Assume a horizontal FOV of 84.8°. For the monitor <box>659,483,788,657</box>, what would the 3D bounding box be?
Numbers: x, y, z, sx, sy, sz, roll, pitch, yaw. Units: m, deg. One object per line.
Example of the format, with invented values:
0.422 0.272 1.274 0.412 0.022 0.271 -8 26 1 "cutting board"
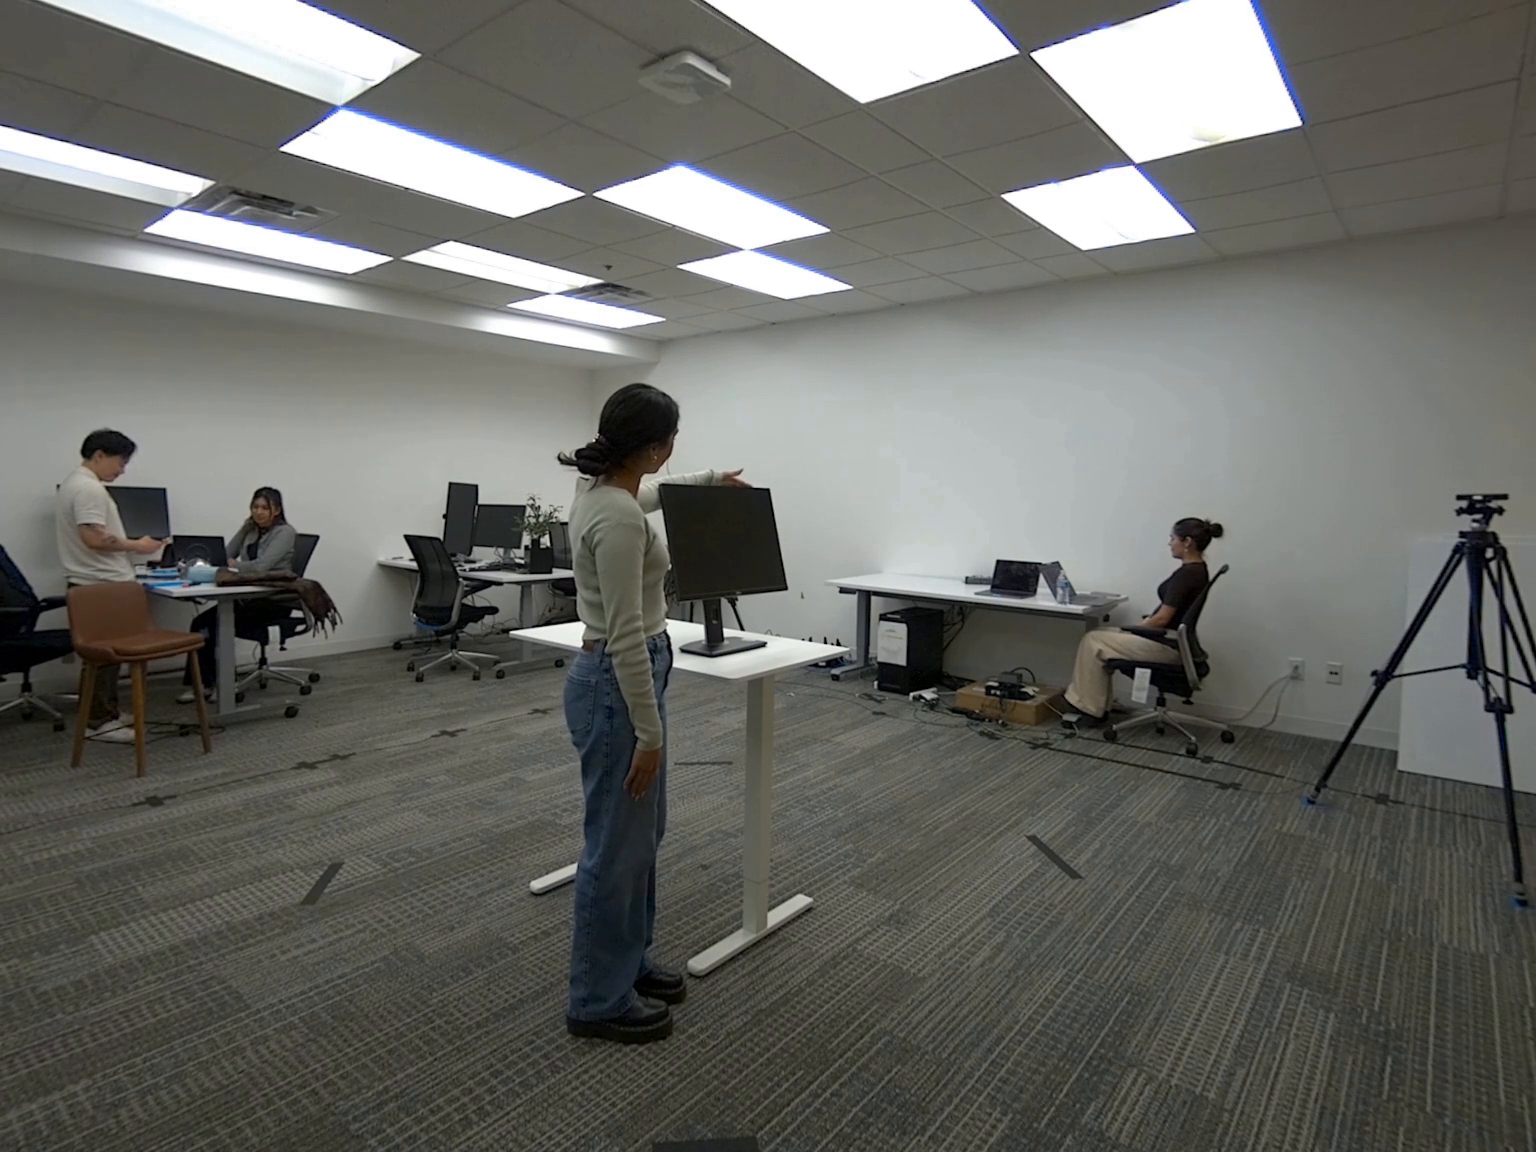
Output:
-0.158 -0.023 2.687 0.193 0.522 0.524 0 3 36 "monitor"
